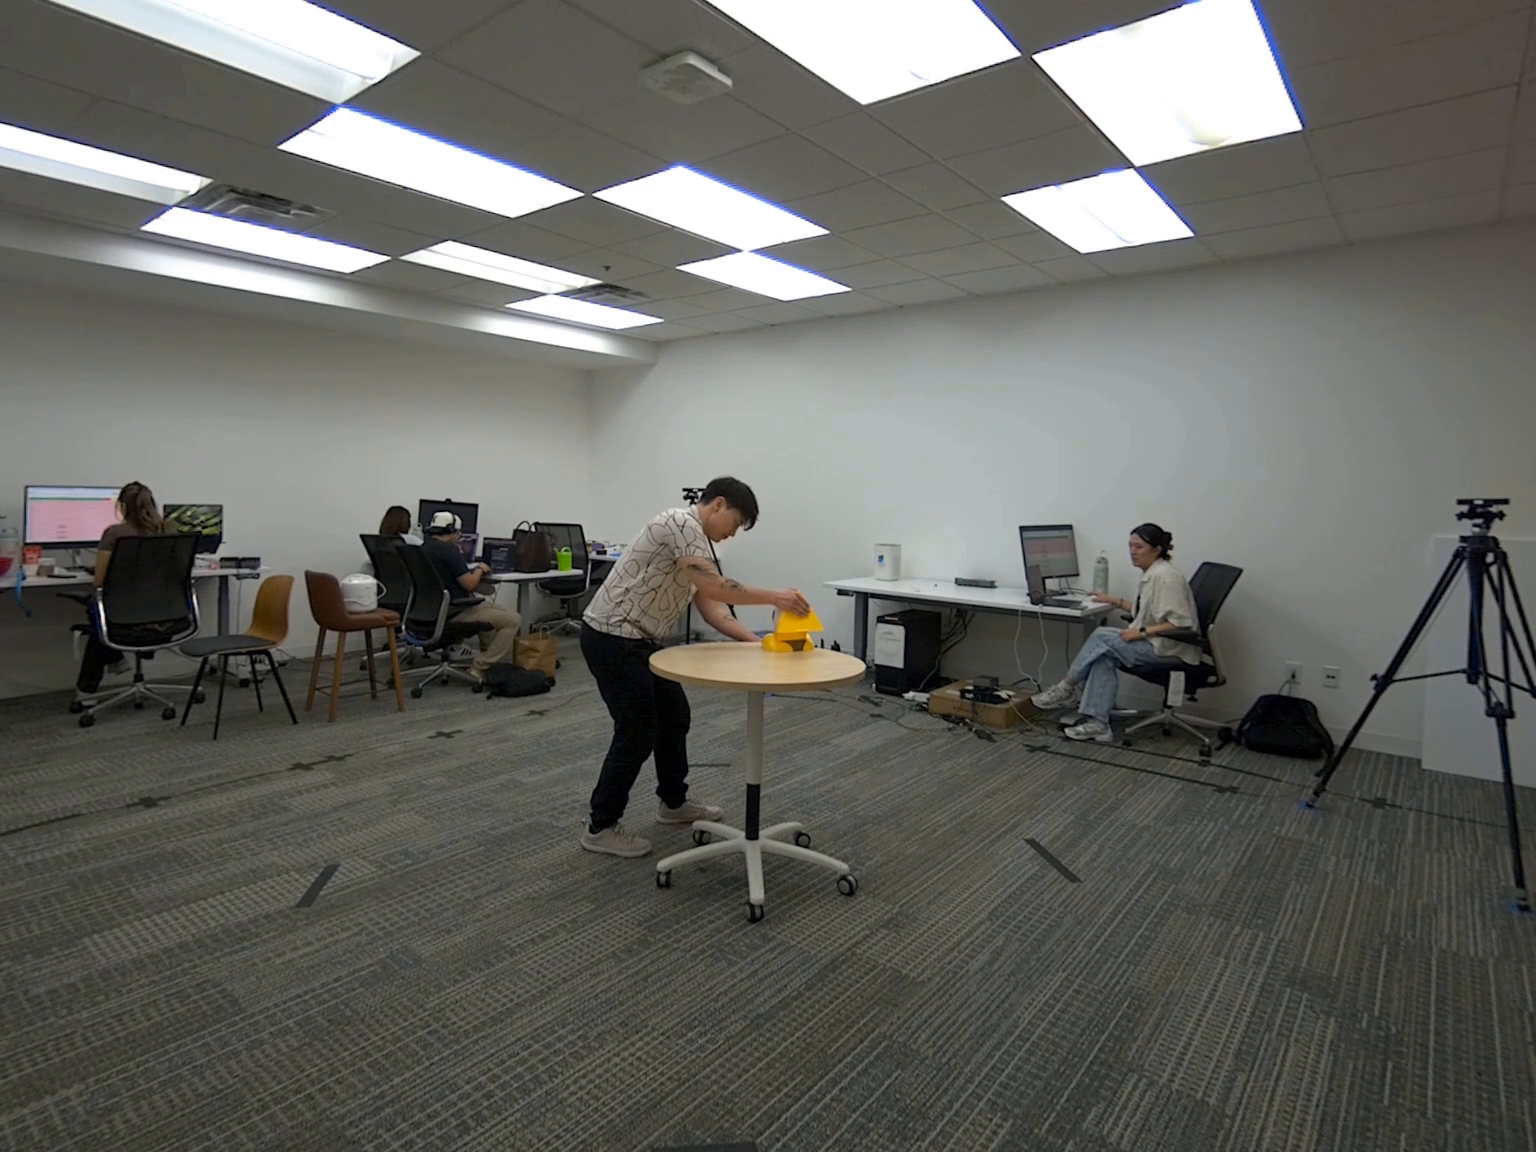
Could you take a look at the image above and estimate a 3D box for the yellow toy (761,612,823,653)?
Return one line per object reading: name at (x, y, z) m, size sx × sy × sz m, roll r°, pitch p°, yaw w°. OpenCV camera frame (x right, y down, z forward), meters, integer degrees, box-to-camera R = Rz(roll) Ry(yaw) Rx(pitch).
yellow toy at (0.072, 0.166, 3.294) m, size 0.199 × 0.230 × 0.199 m, roll 1°, pitch 3°, yaw -29°
